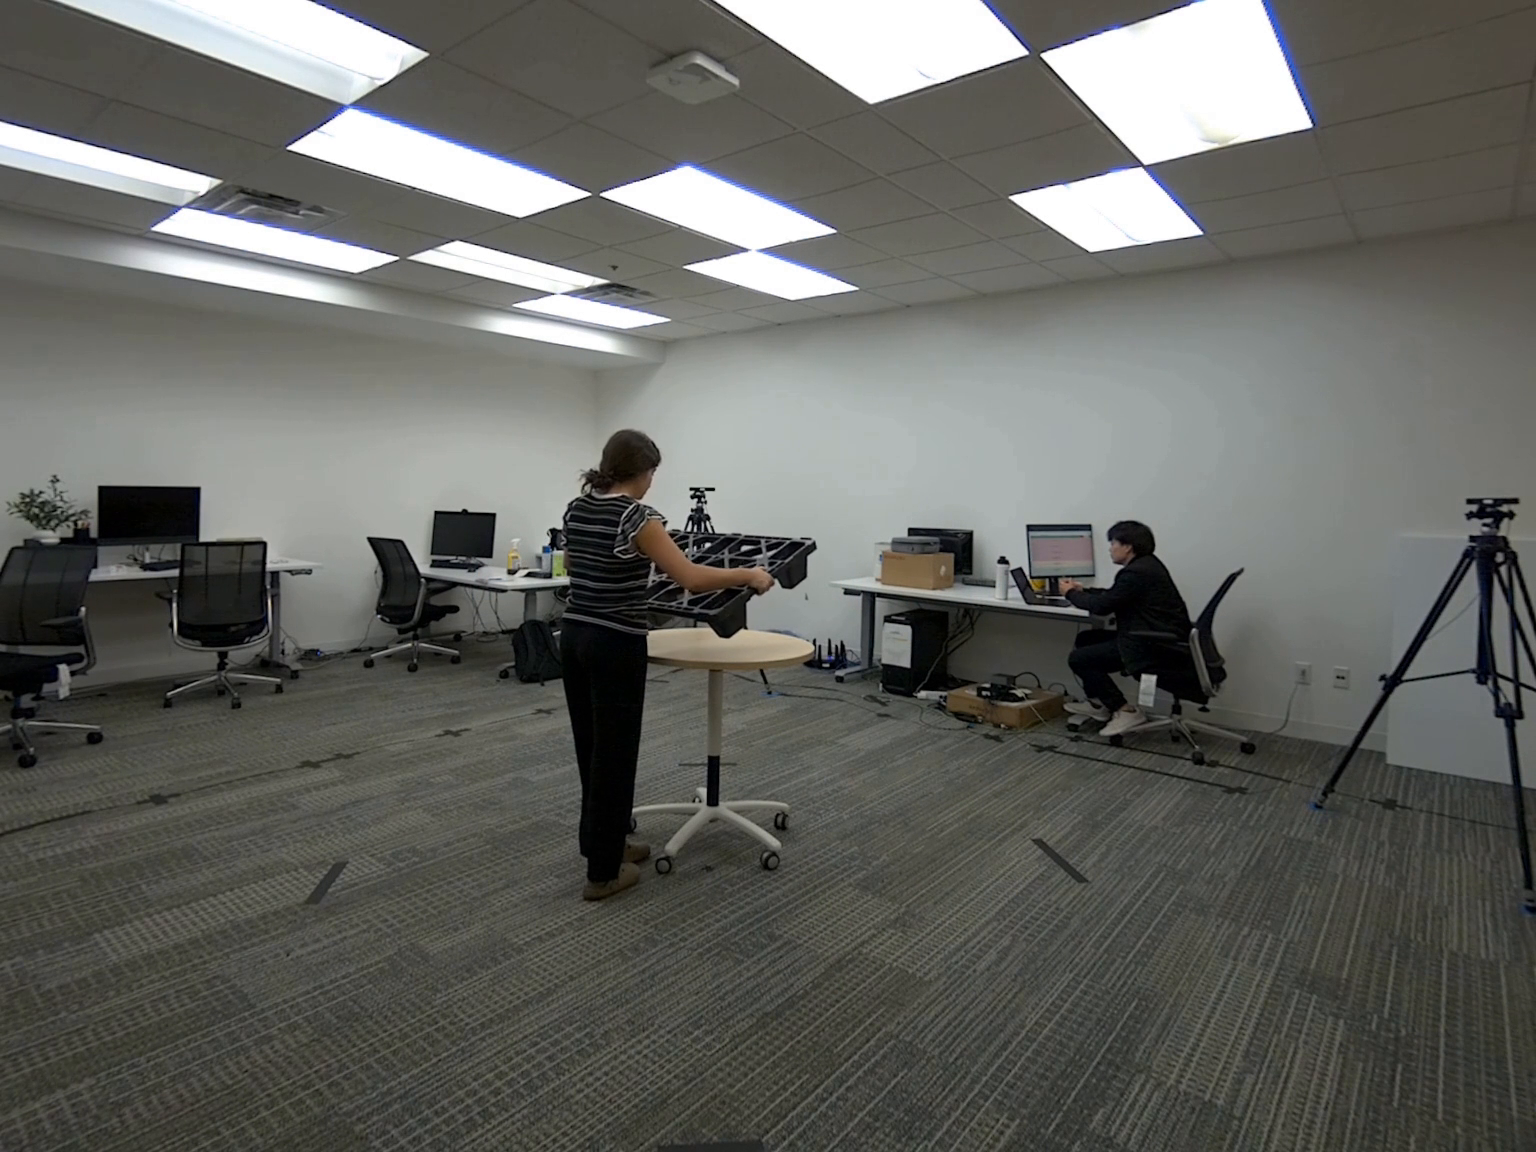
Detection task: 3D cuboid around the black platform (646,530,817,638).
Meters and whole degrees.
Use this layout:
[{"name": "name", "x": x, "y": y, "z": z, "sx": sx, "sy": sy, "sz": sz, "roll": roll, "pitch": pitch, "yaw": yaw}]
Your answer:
[{"name": "black platform", "x": -0.292, "y": 0.019, "z": 3.259, "sx": 0.833, "sy": 0.140, "sz": 0.599, "roll": 6, "pitch": 31, "yaw": 42}]
